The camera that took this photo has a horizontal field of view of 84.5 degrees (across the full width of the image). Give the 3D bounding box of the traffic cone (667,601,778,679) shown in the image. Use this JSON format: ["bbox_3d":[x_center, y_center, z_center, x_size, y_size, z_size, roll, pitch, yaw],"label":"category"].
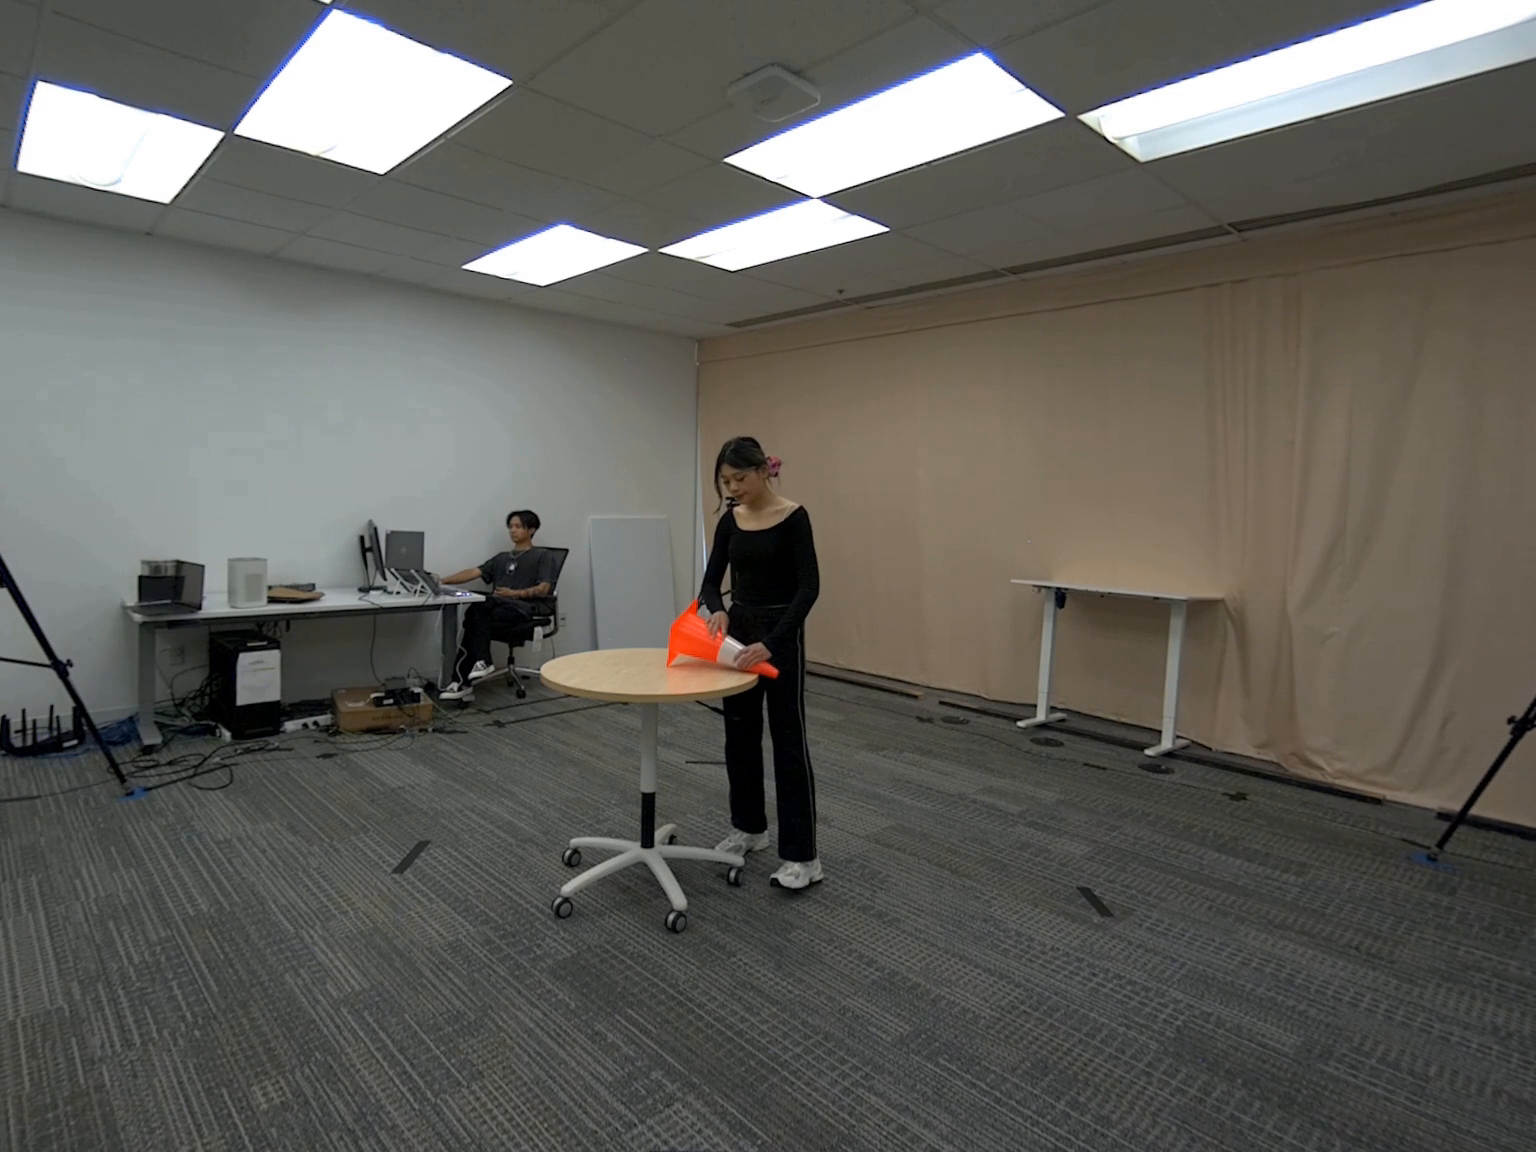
[{"bbox_3d":[-0.143,0.270,2.982,0.390,0.201,0.203,22,39,15],"label":"traffic cone"}]
